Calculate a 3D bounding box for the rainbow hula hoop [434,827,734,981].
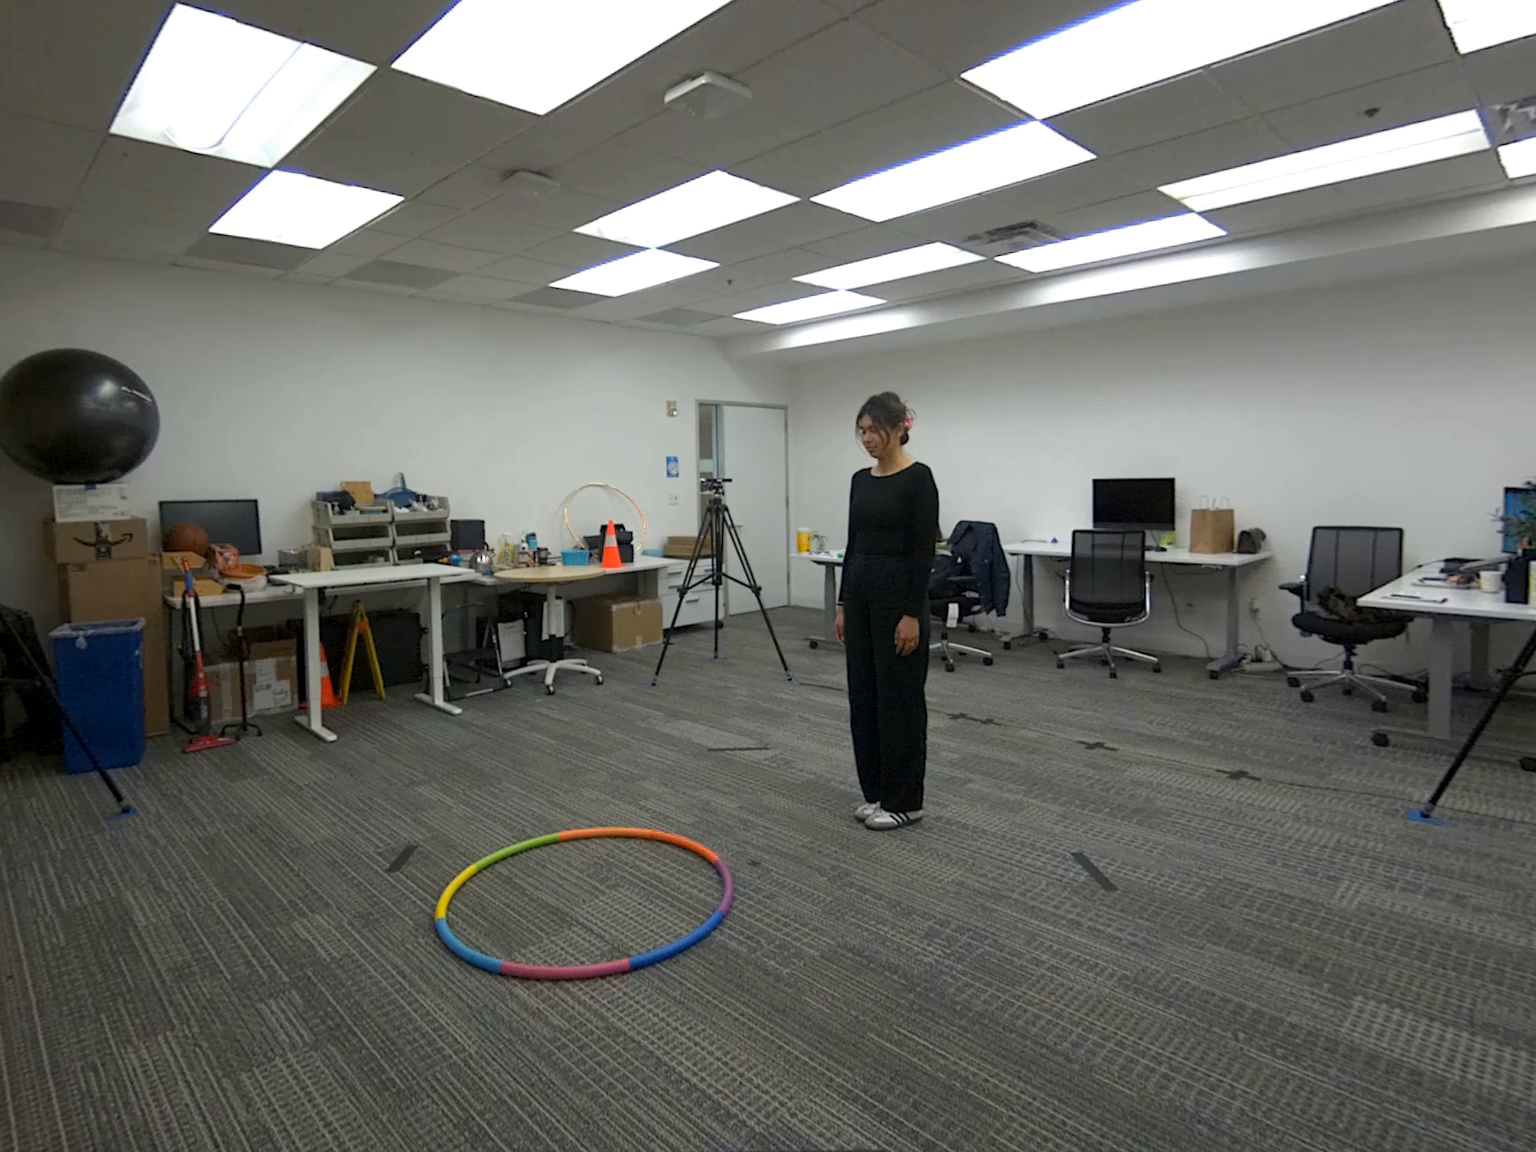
[{"bbox_3d":[-0.597,1.047,2.893,0.978,0.035,0.984,-2,7,-2],"label":"rainbow hula hoop"}]
